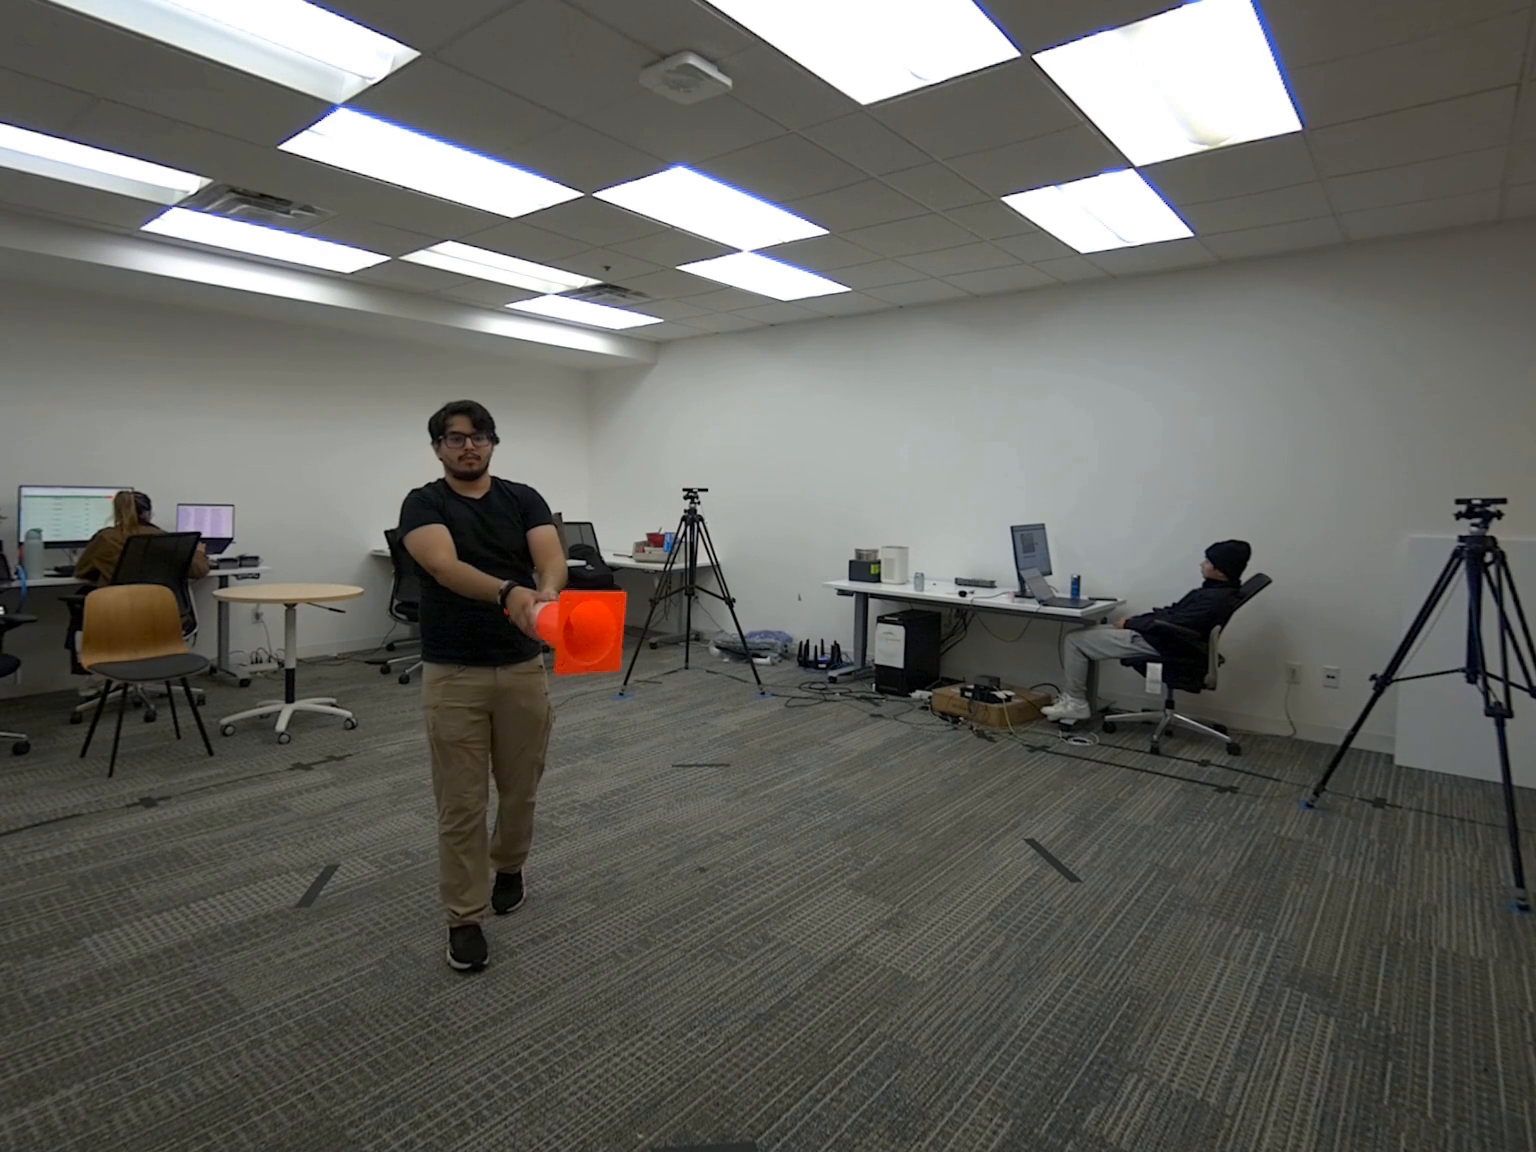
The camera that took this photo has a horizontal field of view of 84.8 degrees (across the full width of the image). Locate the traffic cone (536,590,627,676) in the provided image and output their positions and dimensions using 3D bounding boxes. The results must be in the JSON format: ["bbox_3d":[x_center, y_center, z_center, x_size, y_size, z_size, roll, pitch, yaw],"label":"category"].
[{"bbox_3d":[-0.569,0.118,2.194,0.396,0.205,0.196,3,-1,44],"label":"traffic cone"}]
